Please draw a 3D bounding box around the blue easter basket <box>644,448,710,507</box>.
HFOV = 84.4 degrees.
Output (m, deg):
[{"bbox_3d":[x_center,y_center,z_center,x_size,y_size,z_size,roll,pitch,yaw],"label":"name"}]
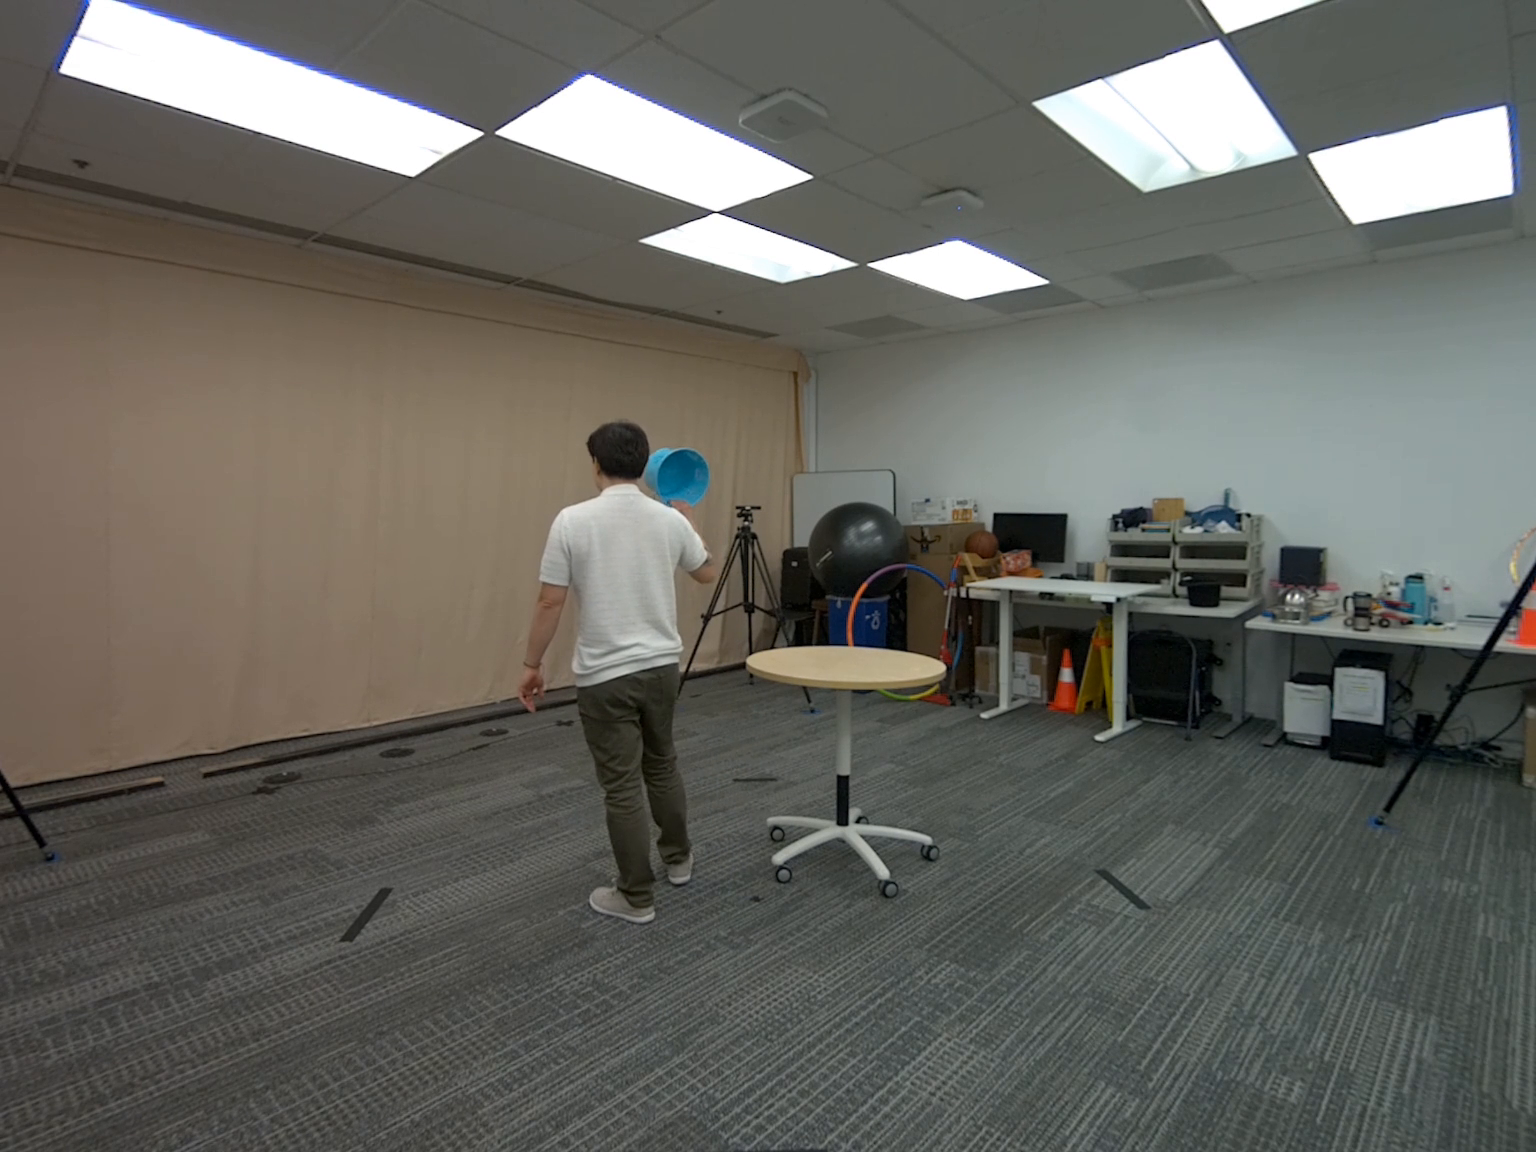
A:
[{"bbox_3d":[-0.355,-0.377,3.230,0.237,0.242,0.161,-2,17,-33],"label":"blue easter basket"}]
